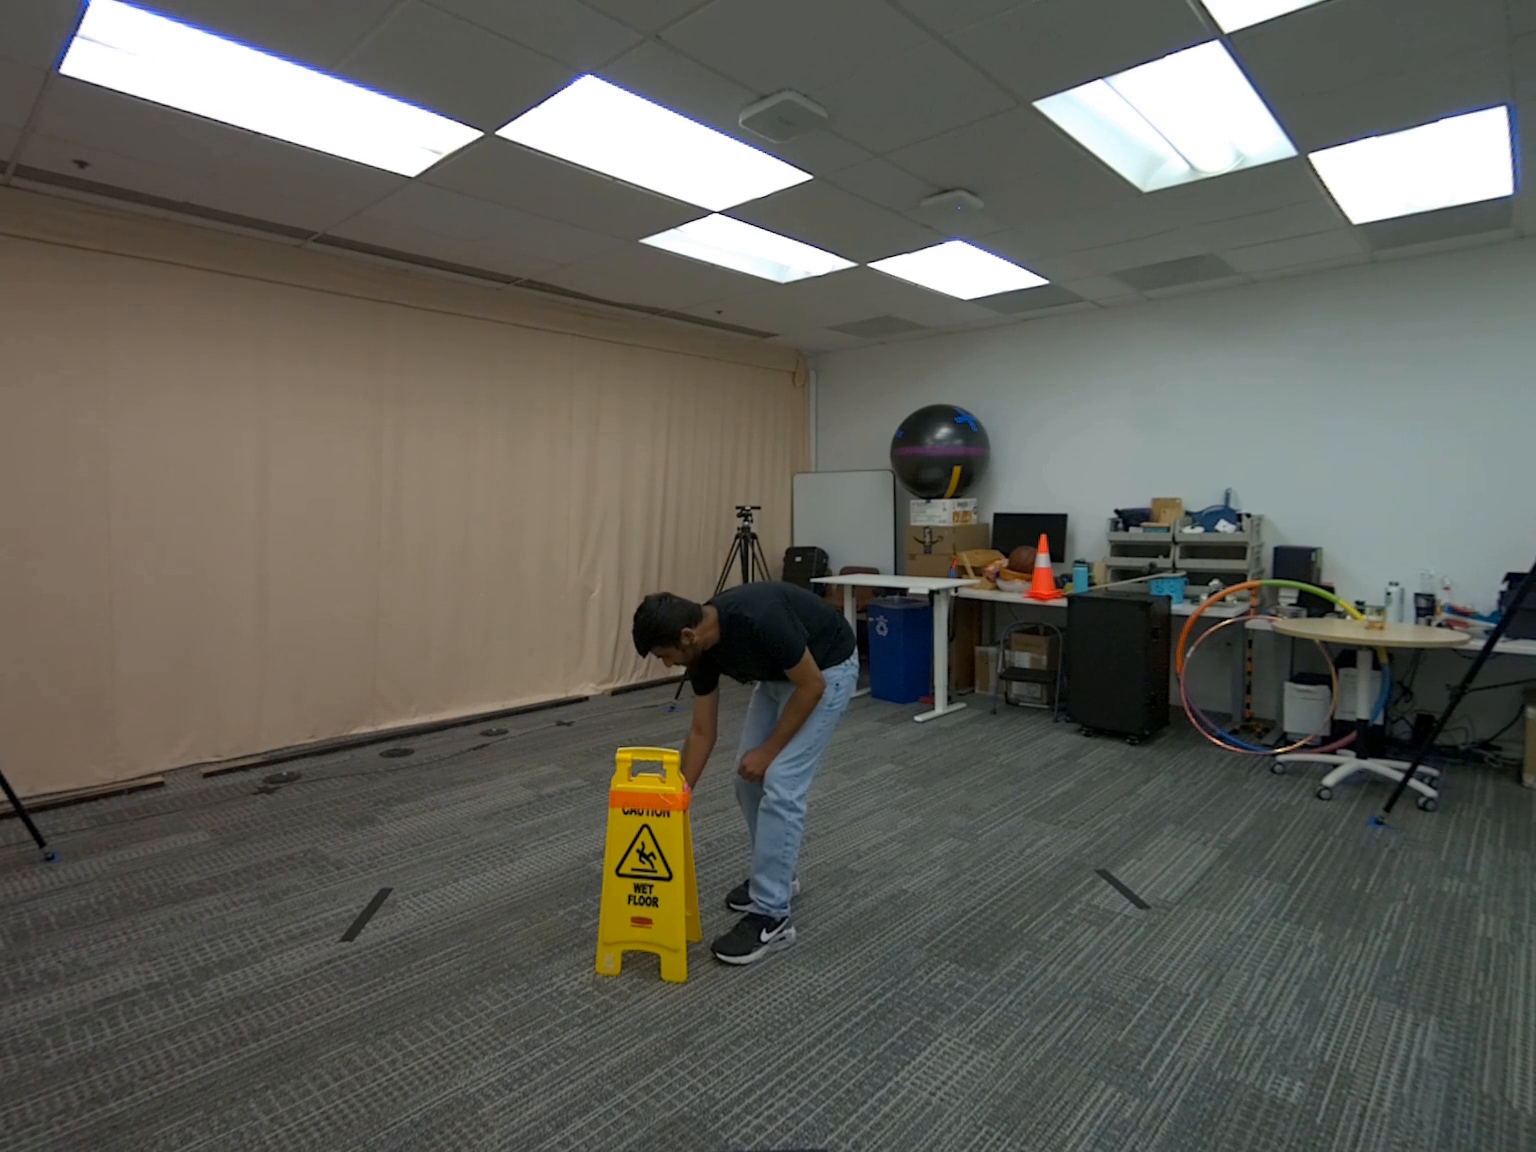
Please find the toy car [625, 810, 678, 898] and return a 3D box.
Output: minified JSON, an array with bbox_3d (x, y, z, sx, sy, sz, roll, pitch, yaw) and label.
[{"bbox_3d":[-0.372,0.887,2.712,0.132,0.252,0.083,-1,15,10],"label":"toy car"}]
